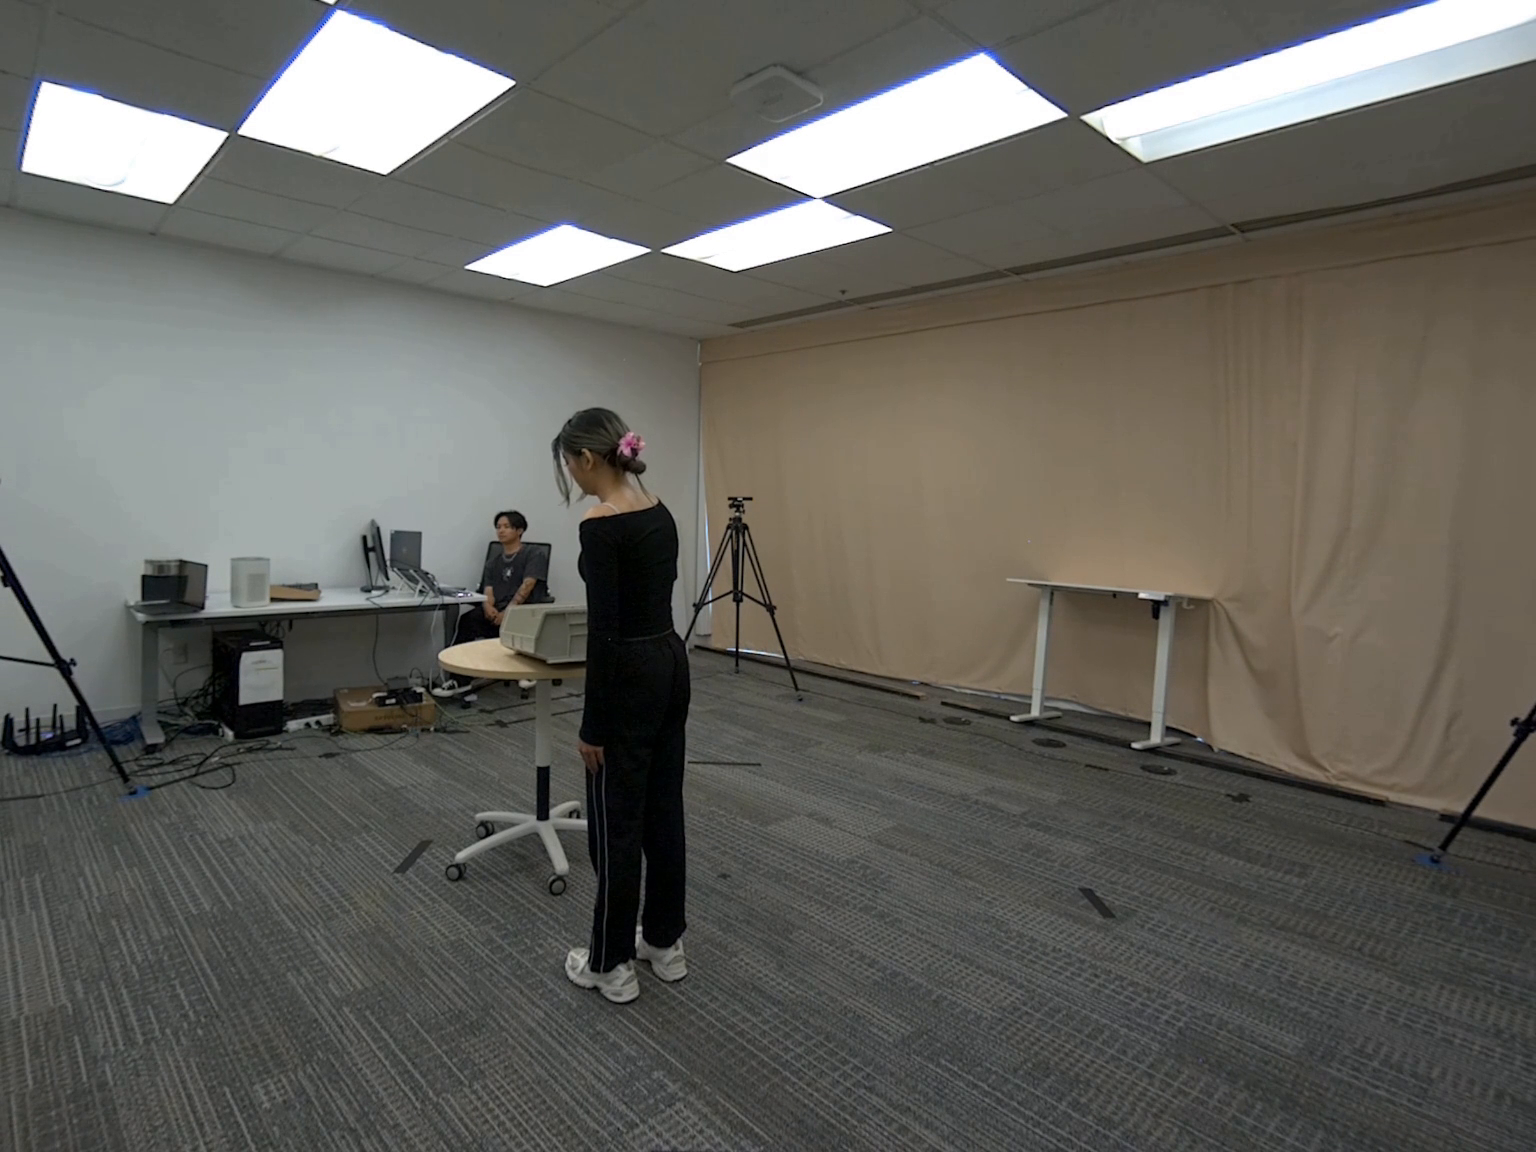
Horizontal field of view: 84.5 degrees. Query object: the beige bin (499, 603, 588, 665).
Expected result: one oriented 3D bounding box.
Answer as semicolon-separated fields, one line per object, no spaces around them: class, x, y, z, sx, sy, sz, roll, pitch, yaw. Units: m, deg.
beige bin;-0.733;0.198;3.050;0.369;0.189;0.431;-1;0;-32
